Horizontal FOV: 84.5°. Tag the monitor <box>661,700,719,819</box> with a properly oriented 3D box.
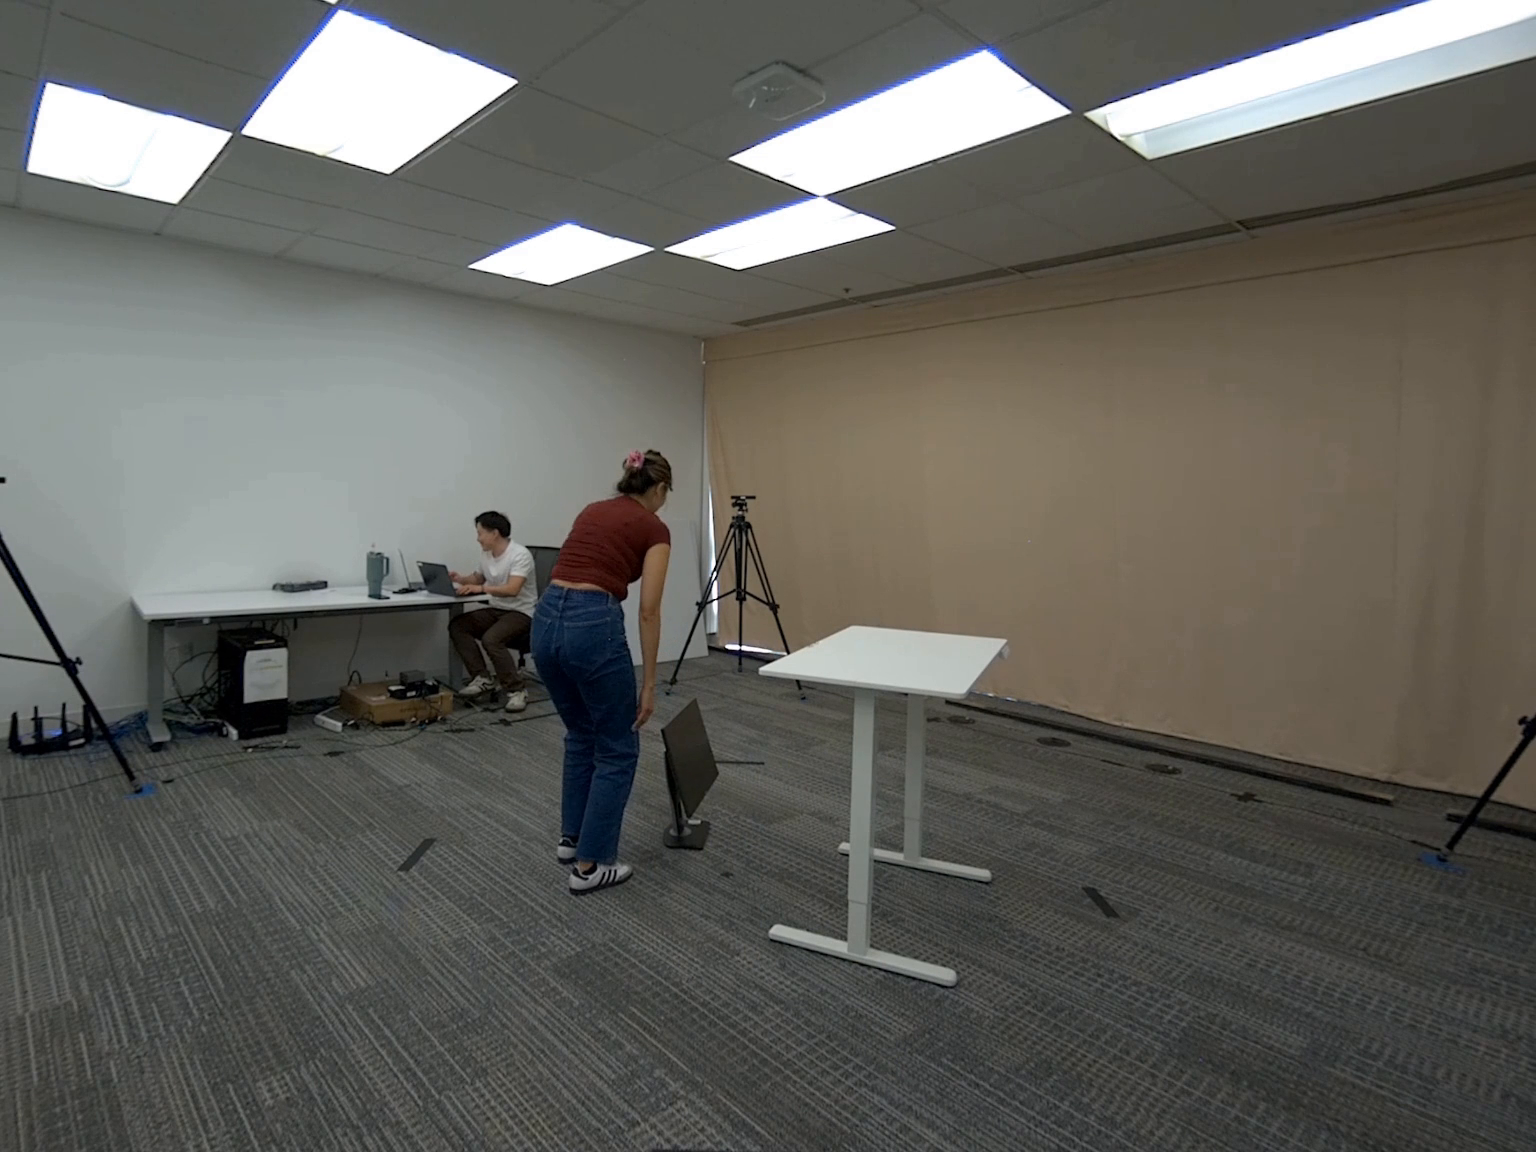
[{"bbox_3d":[-0.353,0.816,3.450,0.188,0.521,0.536,-1,4,9],"label":"monitor"}]
